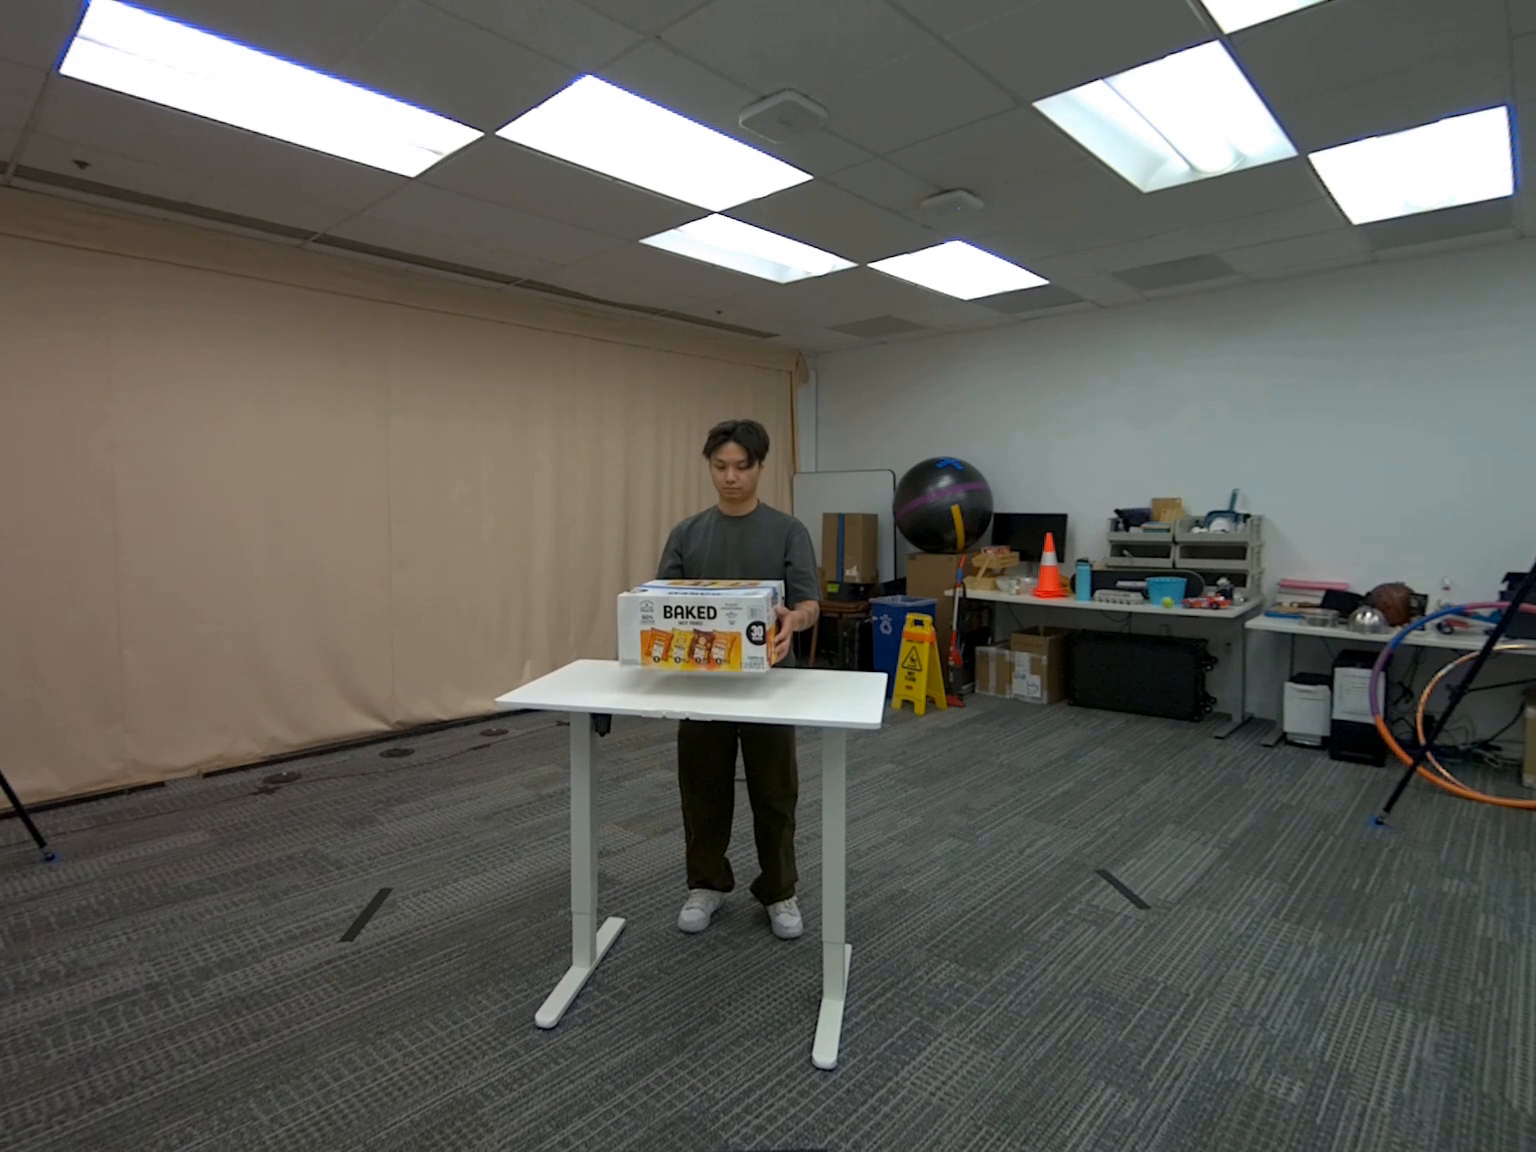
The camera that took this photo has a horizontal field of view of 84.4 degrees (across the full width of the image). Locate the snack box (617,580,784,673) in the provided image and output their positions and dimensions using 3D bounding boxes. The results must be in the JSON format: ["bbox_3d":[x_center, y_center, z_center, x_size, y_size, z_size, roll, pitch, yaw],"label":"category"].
[{"bbox_3d":[-0.175,0.134,2.390,0.411,0.205,0.337,0,6,12],"label":"snack box"}]
